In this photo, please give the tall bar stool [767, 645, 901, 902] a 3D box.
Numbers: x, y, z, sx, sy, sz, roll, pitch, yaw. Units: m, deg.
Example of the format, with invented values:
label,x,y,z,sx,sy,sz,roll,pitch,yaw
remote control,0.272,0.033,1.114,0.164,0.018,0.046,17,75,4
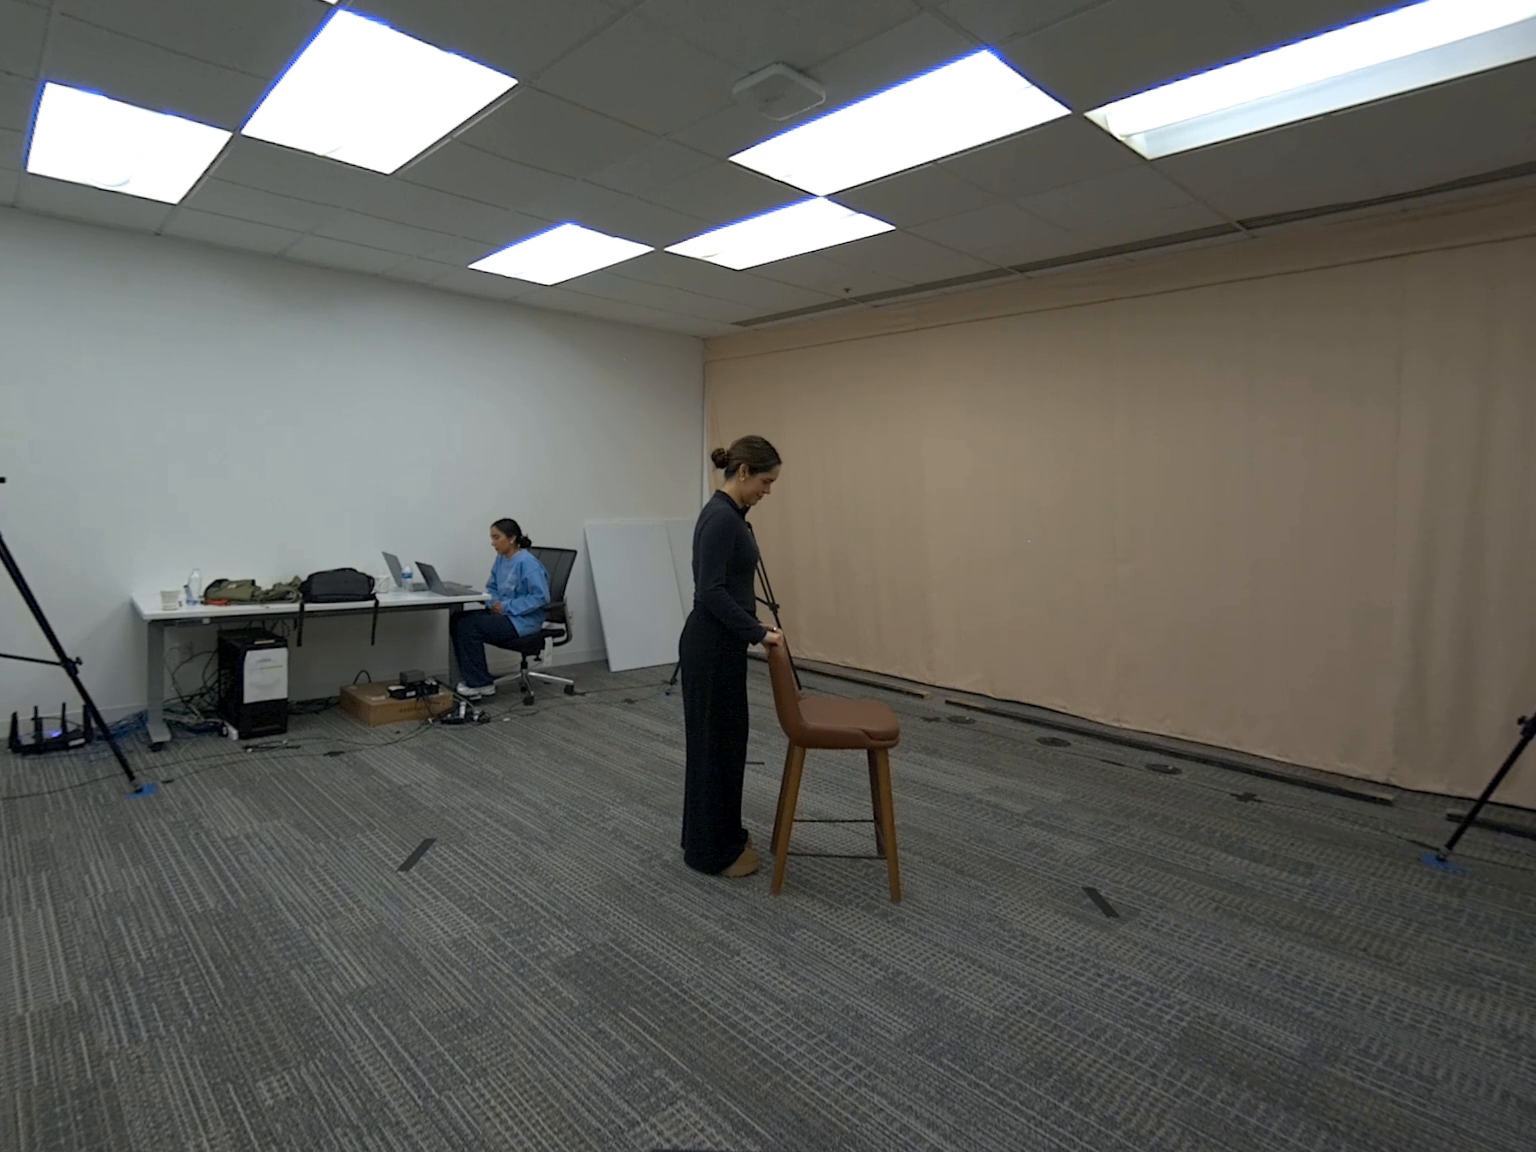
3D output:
label,x,y,z,sx,sy,sz,roll,pitch,yaw
tall bar stool,0.232,0.673,3.105,0.469,0.888,0.456,-1,3,3
